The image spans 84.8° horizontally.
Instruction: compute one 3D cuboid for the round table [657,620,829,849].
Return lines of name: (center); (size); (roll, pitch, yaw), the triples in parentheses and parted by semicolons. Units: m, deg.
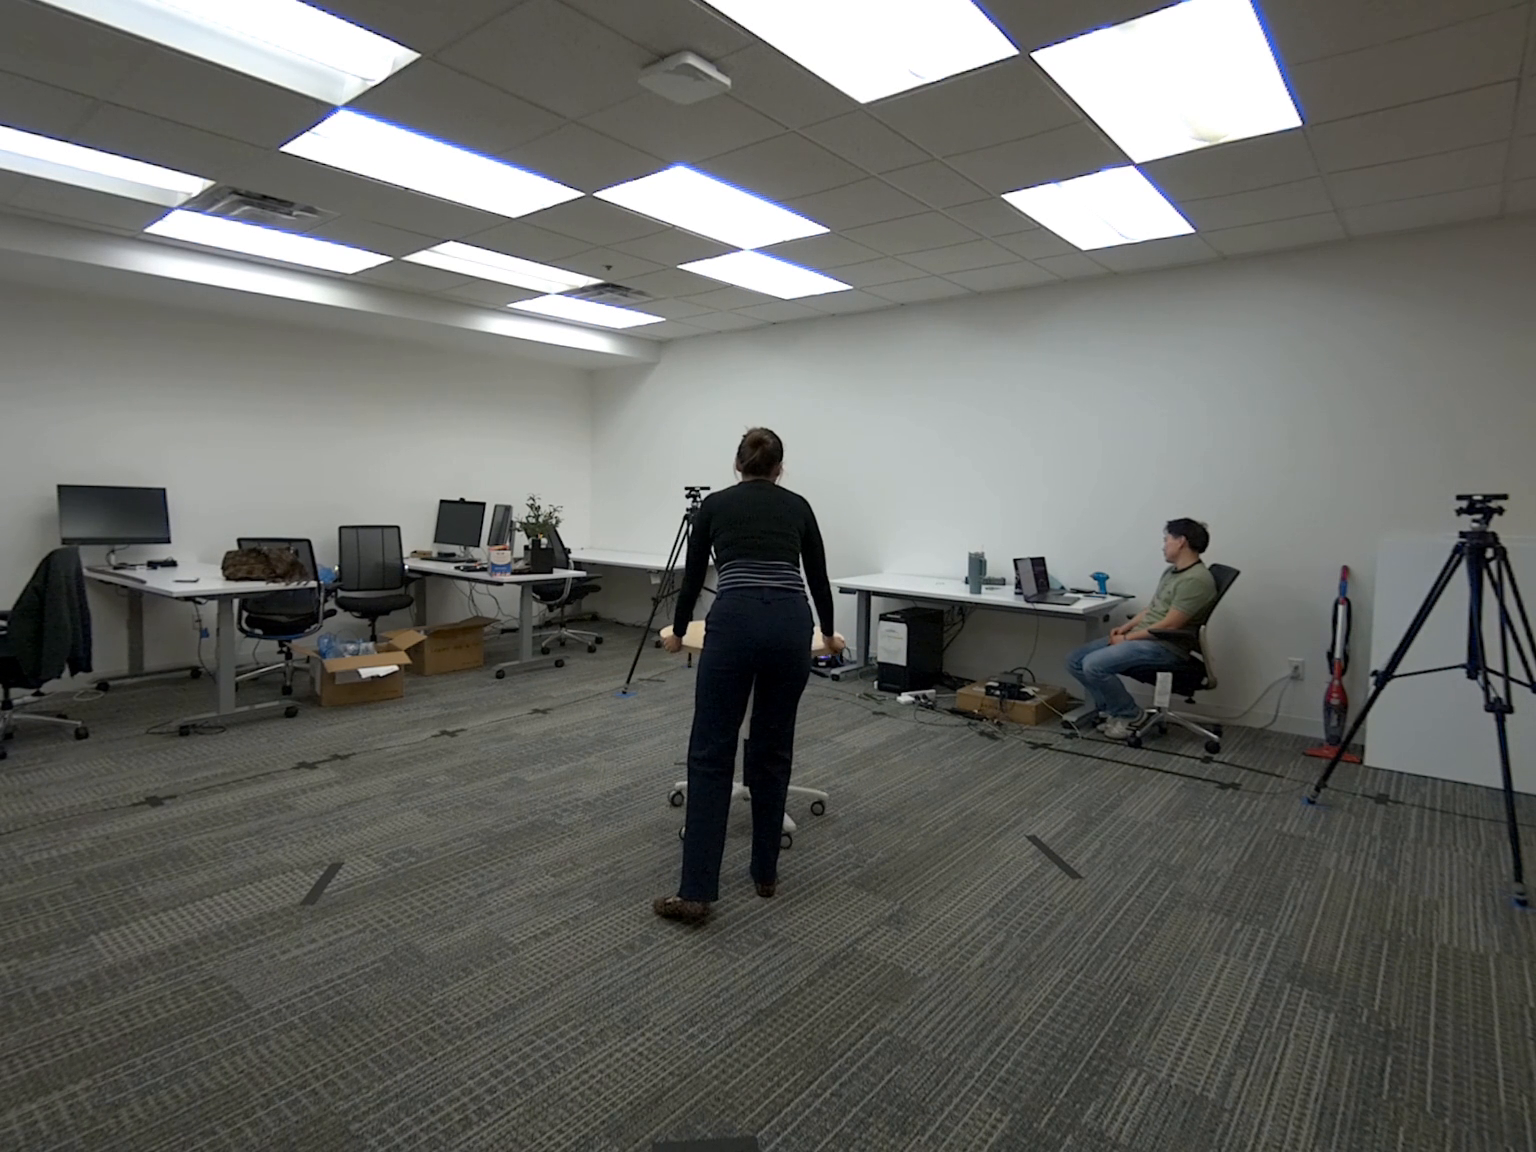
round table: (-0.095, 0.628, 3.564); (0.763, 0.791, 0.768); (1, 4, -2)
